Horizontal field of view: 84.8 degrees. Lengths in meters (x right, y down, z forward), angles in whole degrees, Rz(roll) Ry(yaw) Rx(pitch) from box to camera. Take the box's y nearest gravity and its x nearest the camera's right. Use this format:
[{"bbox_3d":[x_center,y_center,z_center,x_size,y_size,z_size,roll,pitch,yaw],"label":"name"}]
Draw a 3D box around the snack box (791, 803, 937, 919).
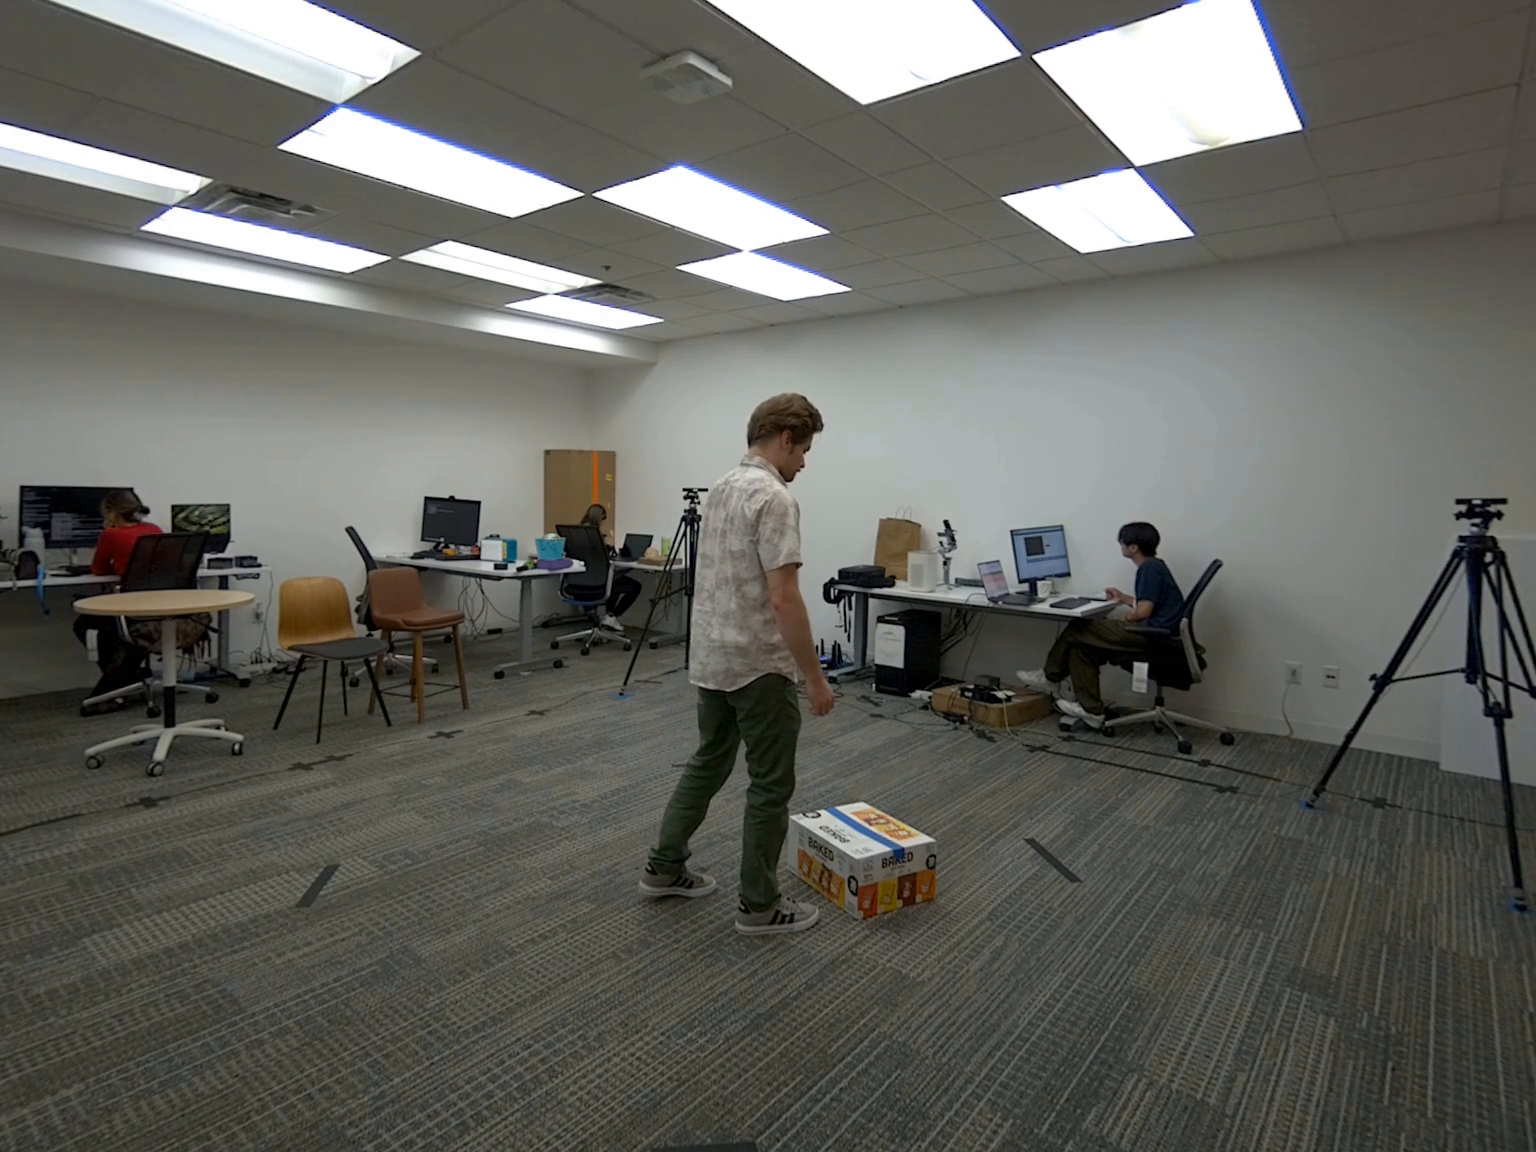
[{"bbox_3d":[0.319,0.988,3.013,0.331,0.205,0.418,-2,6,-31],"label":"snack box"}]
